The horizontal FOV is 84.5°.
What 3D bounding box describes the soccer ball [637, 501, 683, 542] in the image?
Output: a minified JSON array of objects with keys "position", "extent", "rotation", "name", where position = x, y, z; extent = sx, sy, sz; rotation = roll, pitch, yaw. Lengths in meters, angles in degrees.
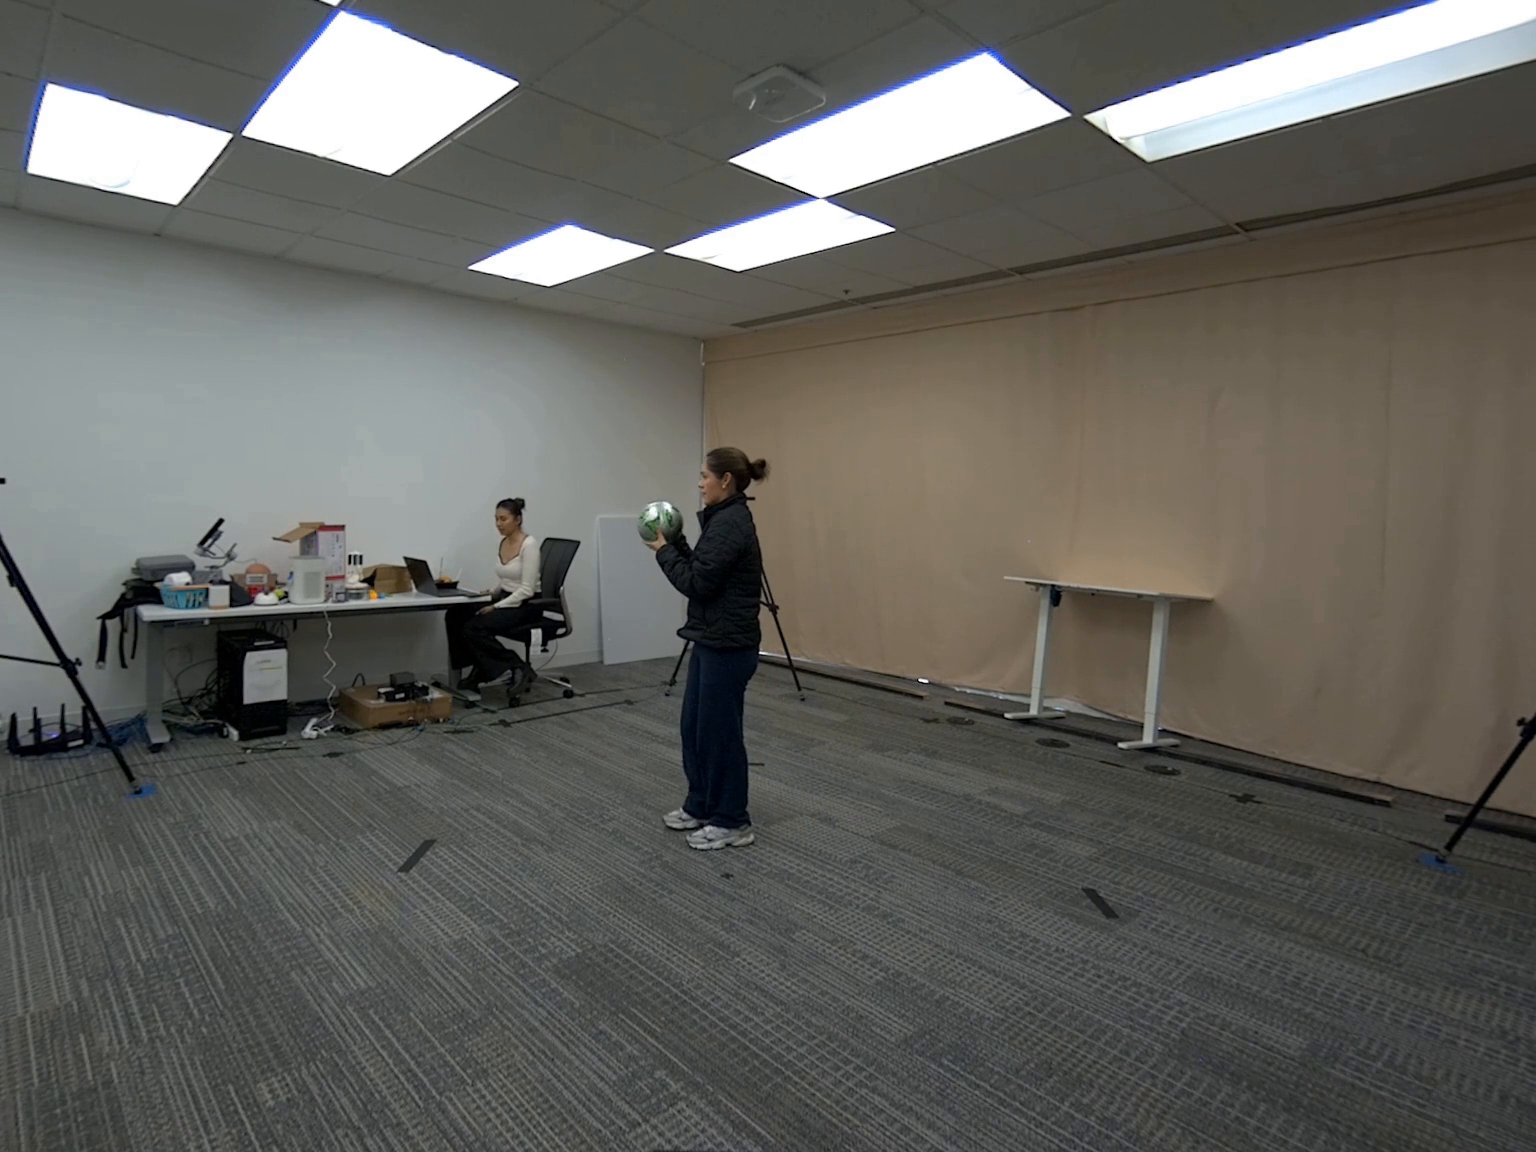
[{"position":[-0.447,-0.217,3.429],"extent":[0.187,0.187,0.188],"rotation":[1,4,-1],"name":"soccer ball"}]
